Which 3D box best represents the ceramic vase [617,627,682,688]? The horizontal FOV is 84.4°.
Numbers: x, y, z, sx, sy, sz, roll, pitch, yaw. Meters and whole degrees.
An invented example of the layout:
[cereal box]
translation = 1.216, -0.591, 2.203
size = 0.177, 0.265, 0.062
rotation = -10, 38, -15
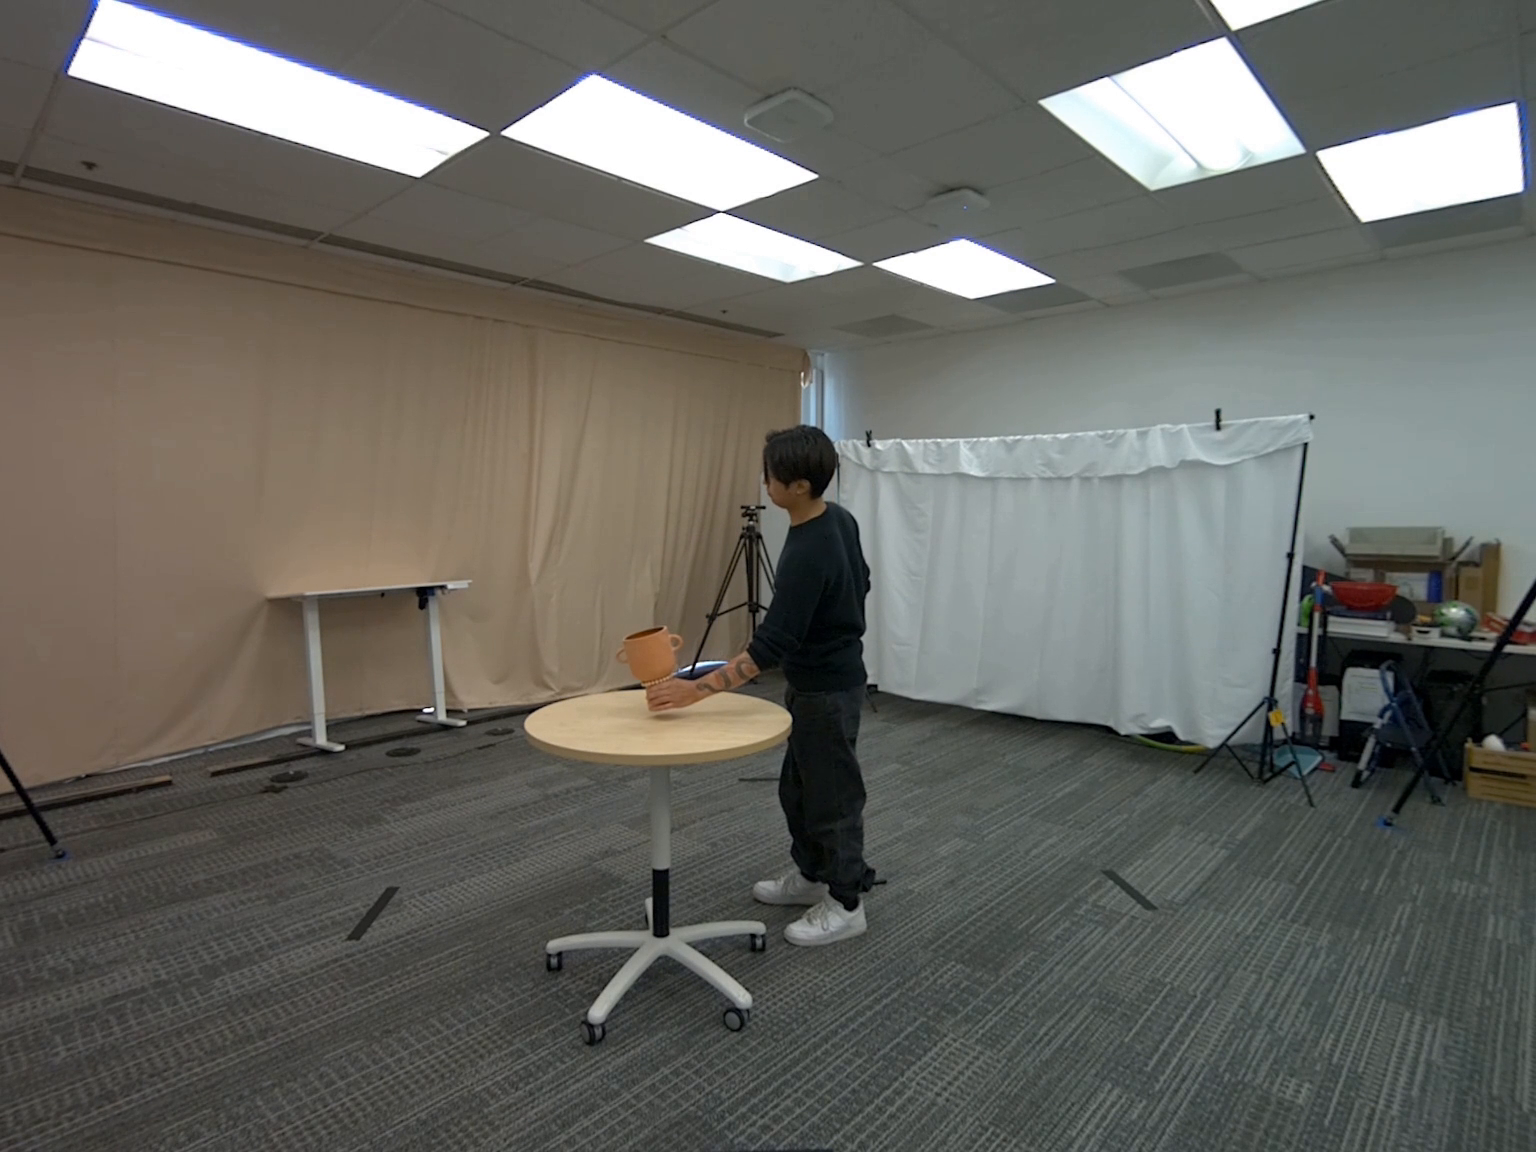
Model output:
[ceramic vase]
translation = -0.321, 0.272, 2.420
size = 0.163, 0.219, 0.131
rotation = -9, 8, 42
